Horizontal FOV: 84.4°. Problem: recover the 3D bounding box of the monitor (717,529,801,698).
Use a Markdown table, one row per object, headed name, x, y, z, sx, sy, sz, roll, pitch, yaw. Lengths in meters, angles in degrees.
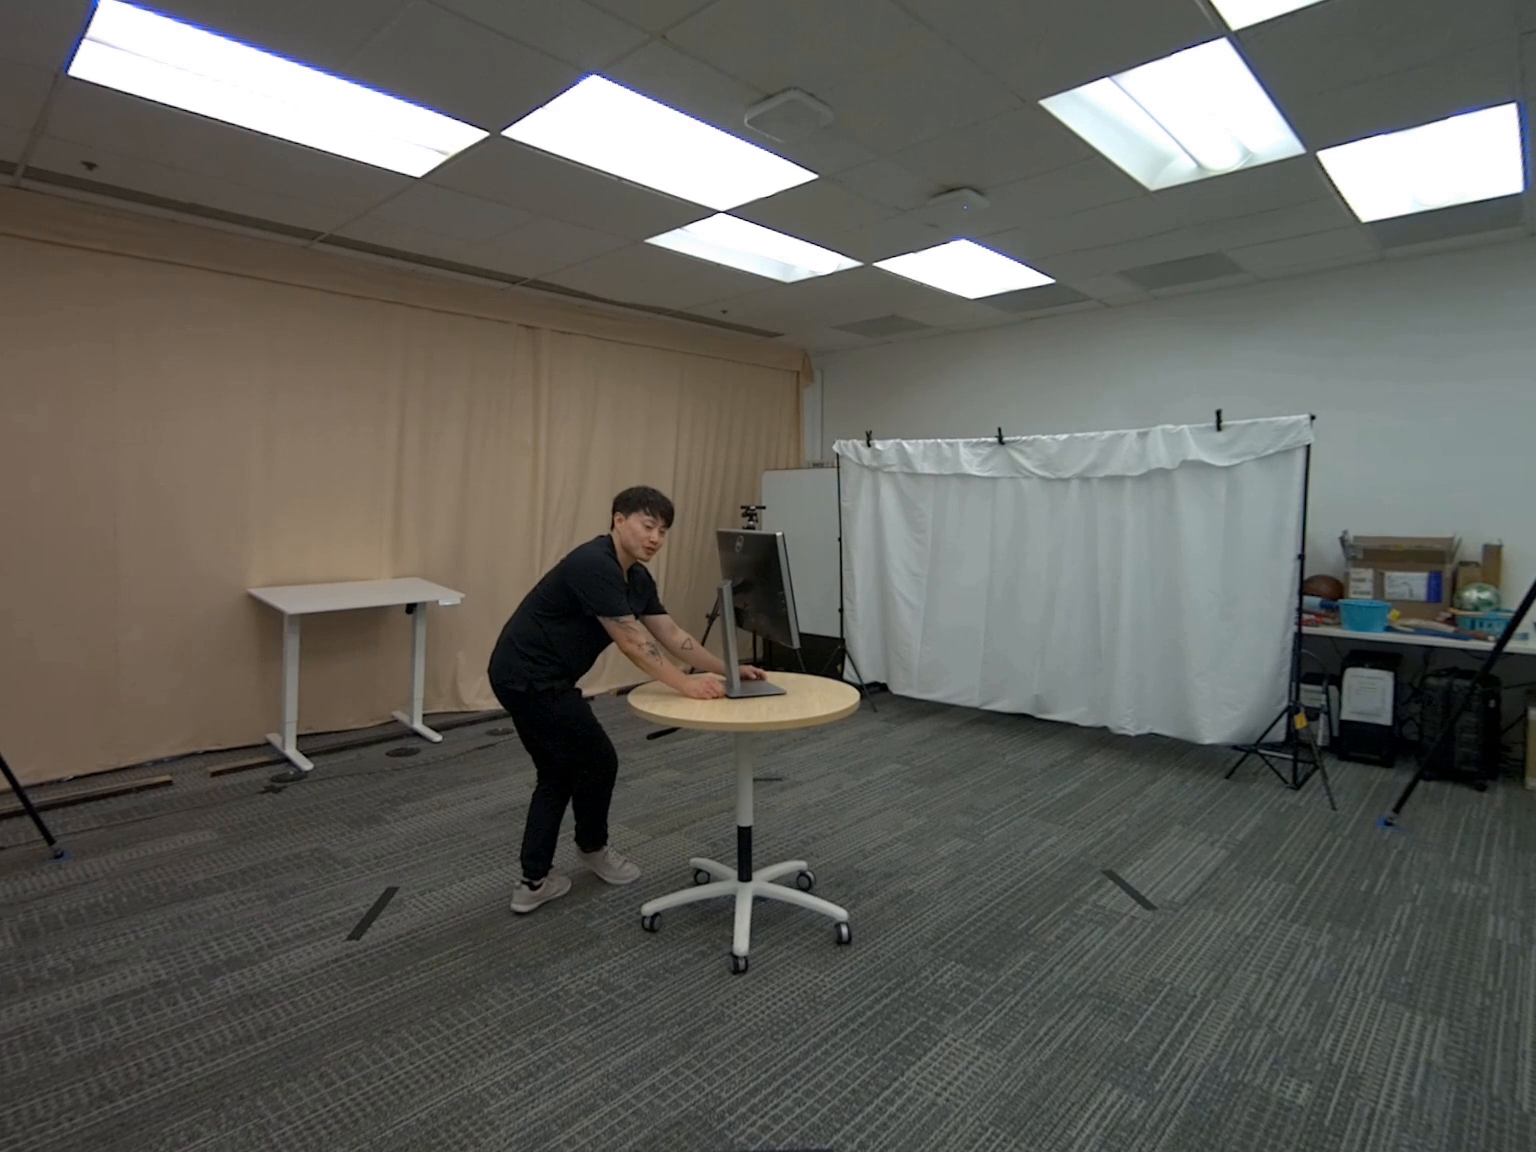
| name | x | y | z | sx | sy | sz | roll | pitch | yaw |
| --- | --- | --- | --- | --- | --- | --- | --- | --- | --- |
| monitor | -0.074 | 0.118 | 2.830 | 0.183 | 0.521 | 0.552 | 0 | 4 | -23 |
